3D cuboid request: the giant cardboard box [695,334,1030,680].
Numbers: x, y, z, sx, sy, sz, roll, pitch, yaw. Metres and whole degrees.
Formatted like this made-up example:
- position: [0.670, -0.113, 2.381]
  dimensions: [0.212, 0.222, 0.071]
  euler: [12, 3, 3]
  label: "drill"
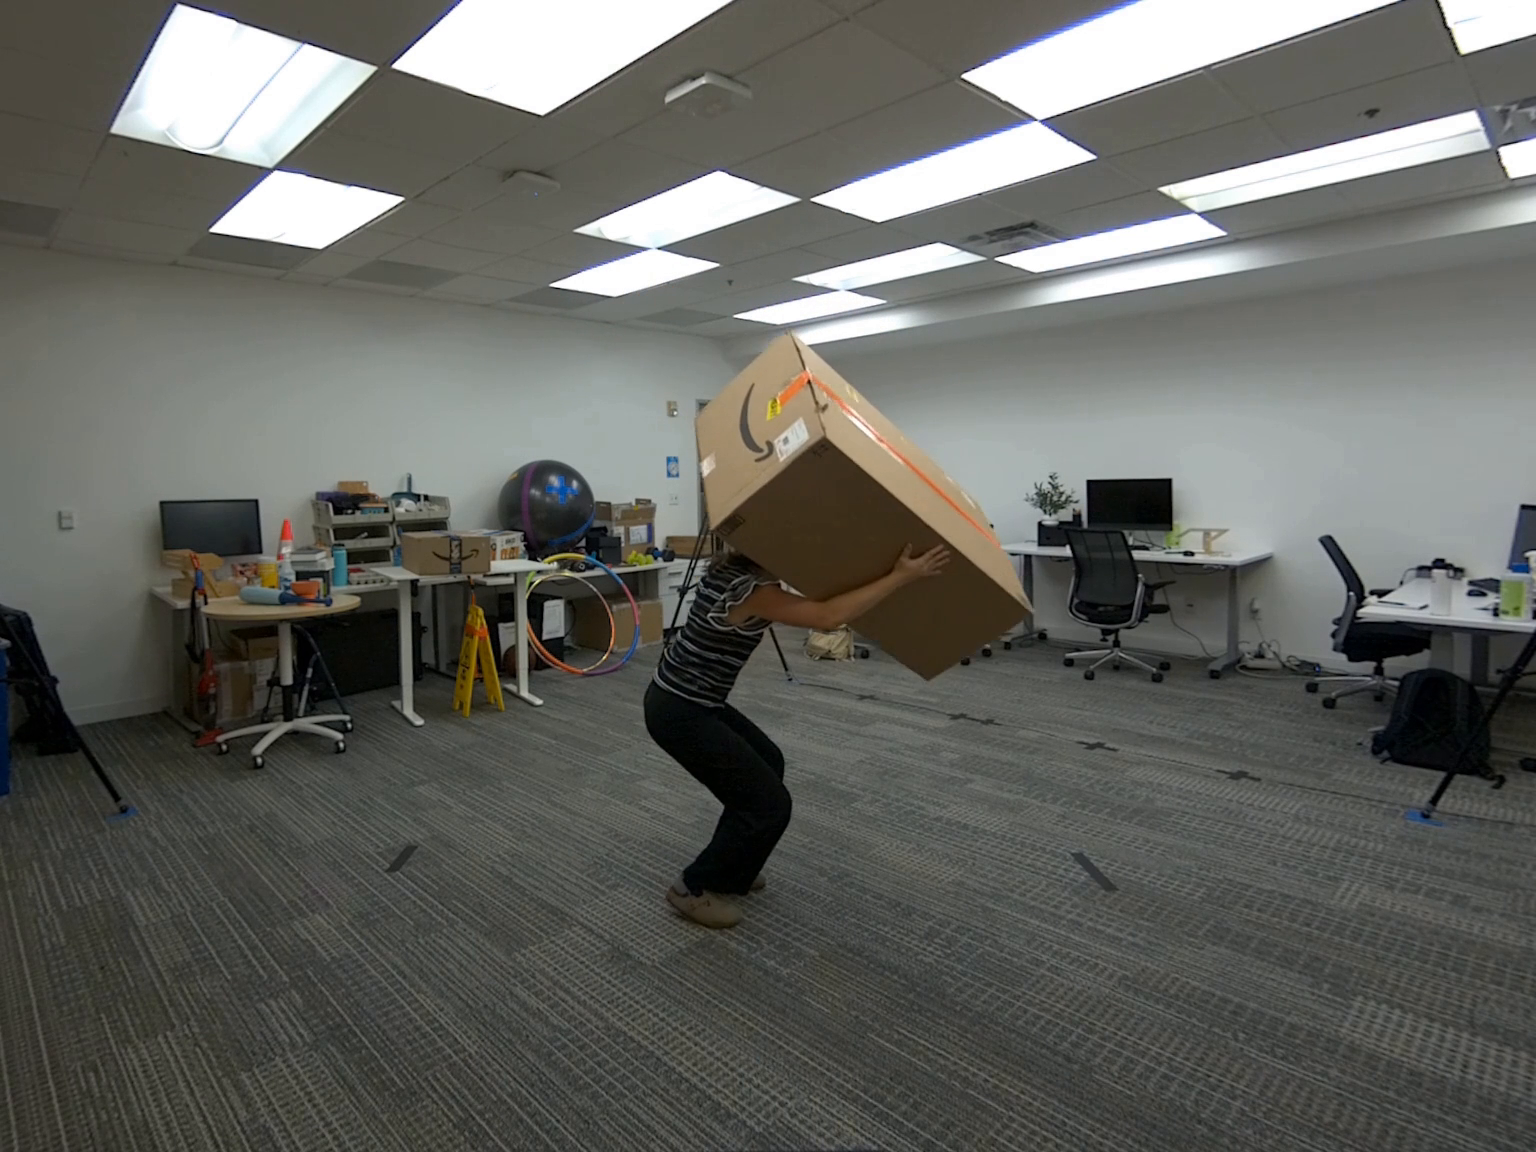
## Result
- position: [0.293, -0.198, 2.715]
  dimensions: [0.991, 0.596, 0.428]
  euler: [34, -61, -32]
  label: "giant cardboard box"
